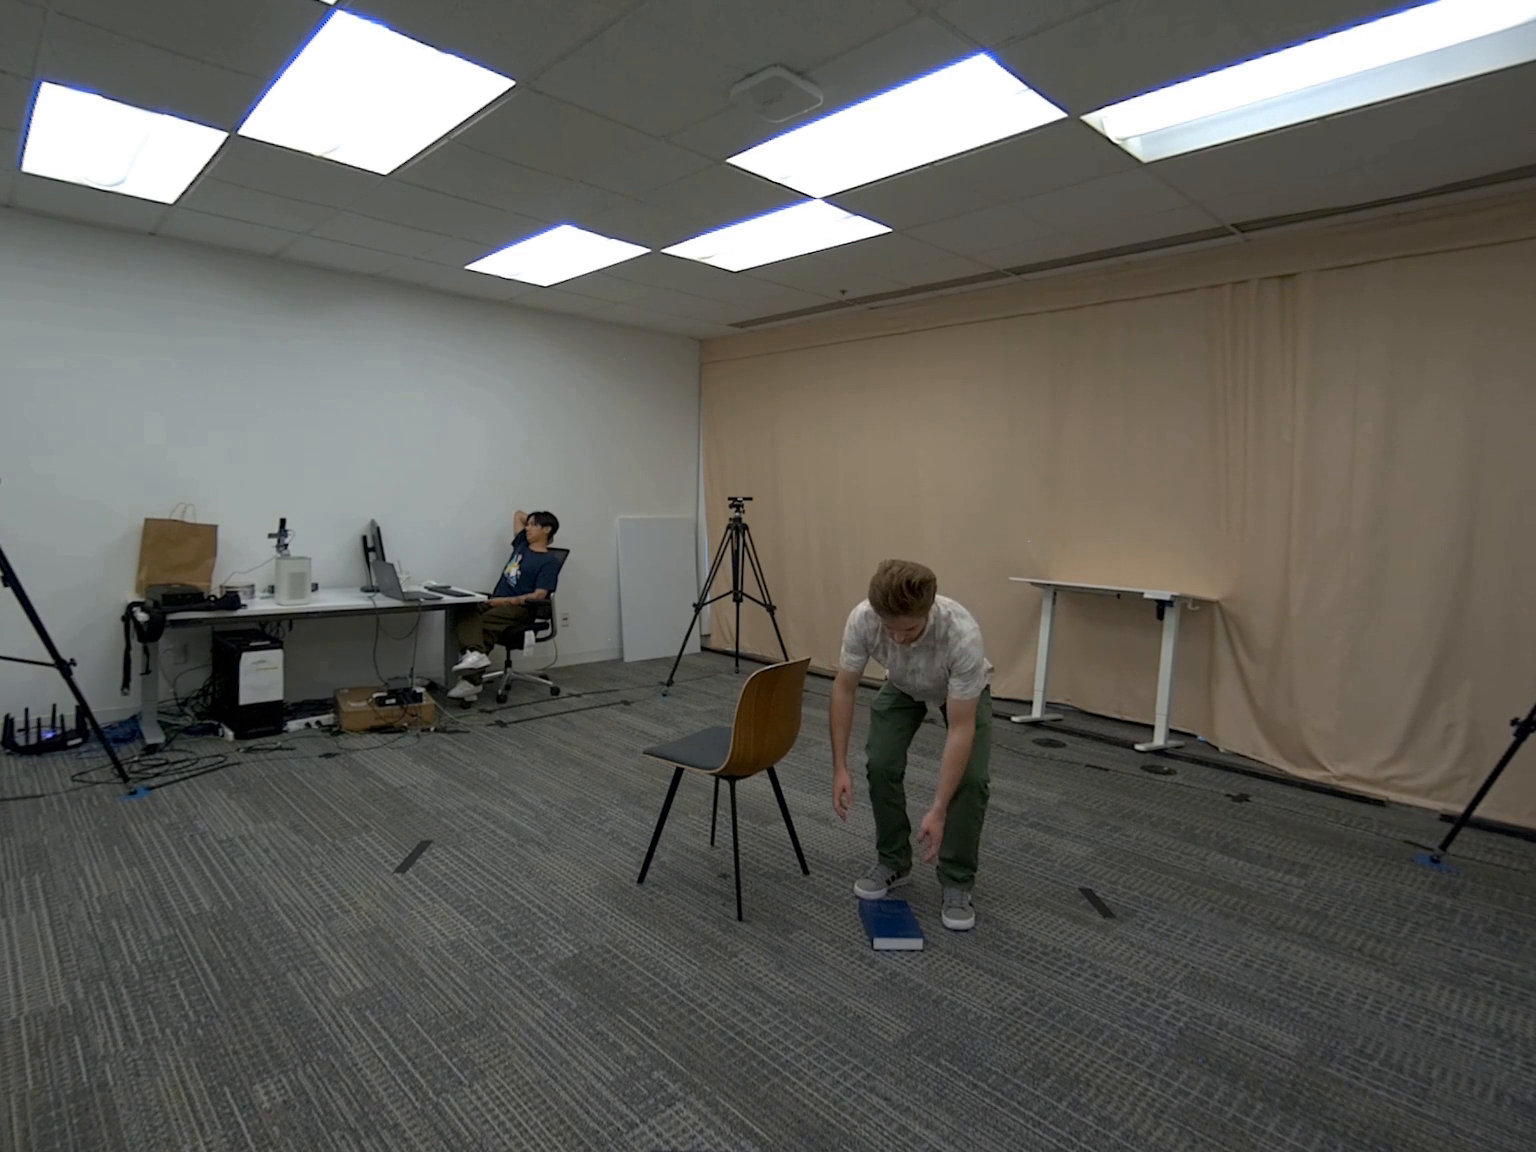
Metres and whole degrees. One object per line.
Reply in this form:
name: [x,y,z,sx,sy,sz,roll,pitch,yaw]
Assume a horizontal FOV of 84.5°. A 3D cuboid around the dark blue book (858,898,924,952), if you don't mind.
dark blue book: [0.396,1.132,2.730,0.163,0.045,0.246,1,5,-4]
